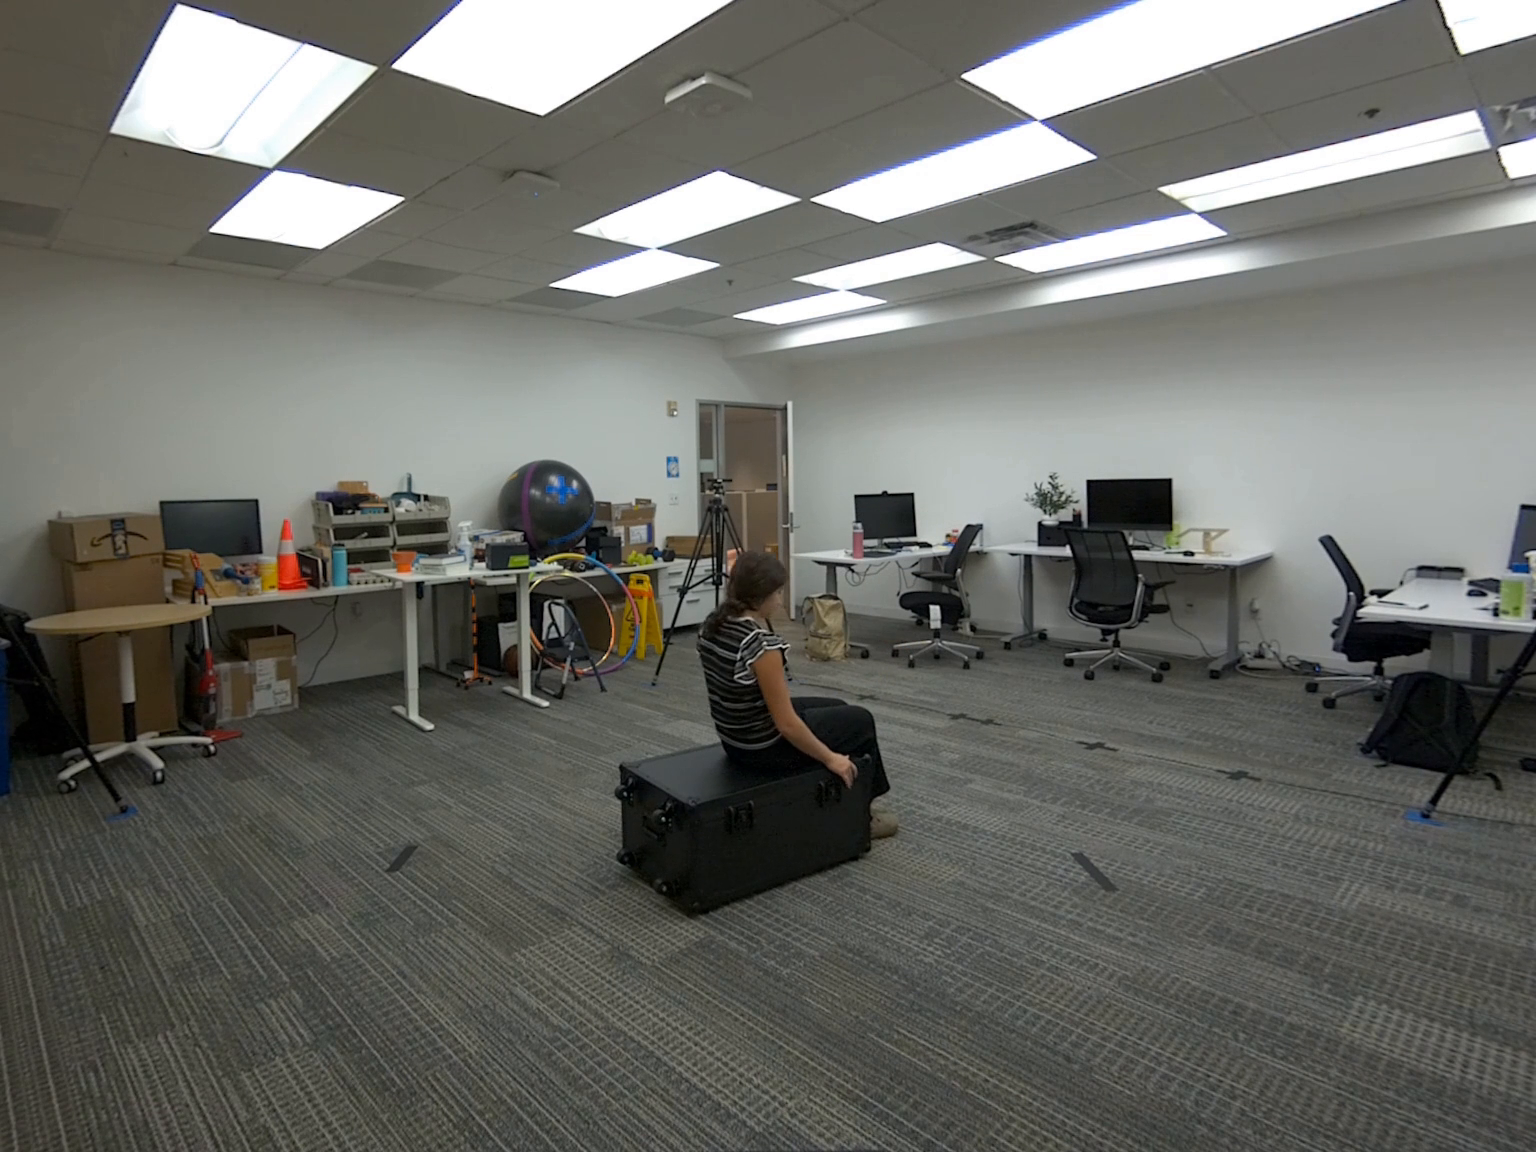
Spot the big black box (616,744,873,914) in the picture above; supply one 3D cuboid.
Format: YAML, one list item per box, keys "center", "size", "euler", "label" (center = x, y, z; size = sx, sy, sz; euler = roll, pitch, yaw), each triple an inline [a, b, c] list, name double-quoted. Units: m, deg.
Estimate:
- center: [-0.110, 0.859, 3.095]
  size: [0.839, 0.395, 0.537]
  euler: [-4, 6, -35]
  label: "big black box"
